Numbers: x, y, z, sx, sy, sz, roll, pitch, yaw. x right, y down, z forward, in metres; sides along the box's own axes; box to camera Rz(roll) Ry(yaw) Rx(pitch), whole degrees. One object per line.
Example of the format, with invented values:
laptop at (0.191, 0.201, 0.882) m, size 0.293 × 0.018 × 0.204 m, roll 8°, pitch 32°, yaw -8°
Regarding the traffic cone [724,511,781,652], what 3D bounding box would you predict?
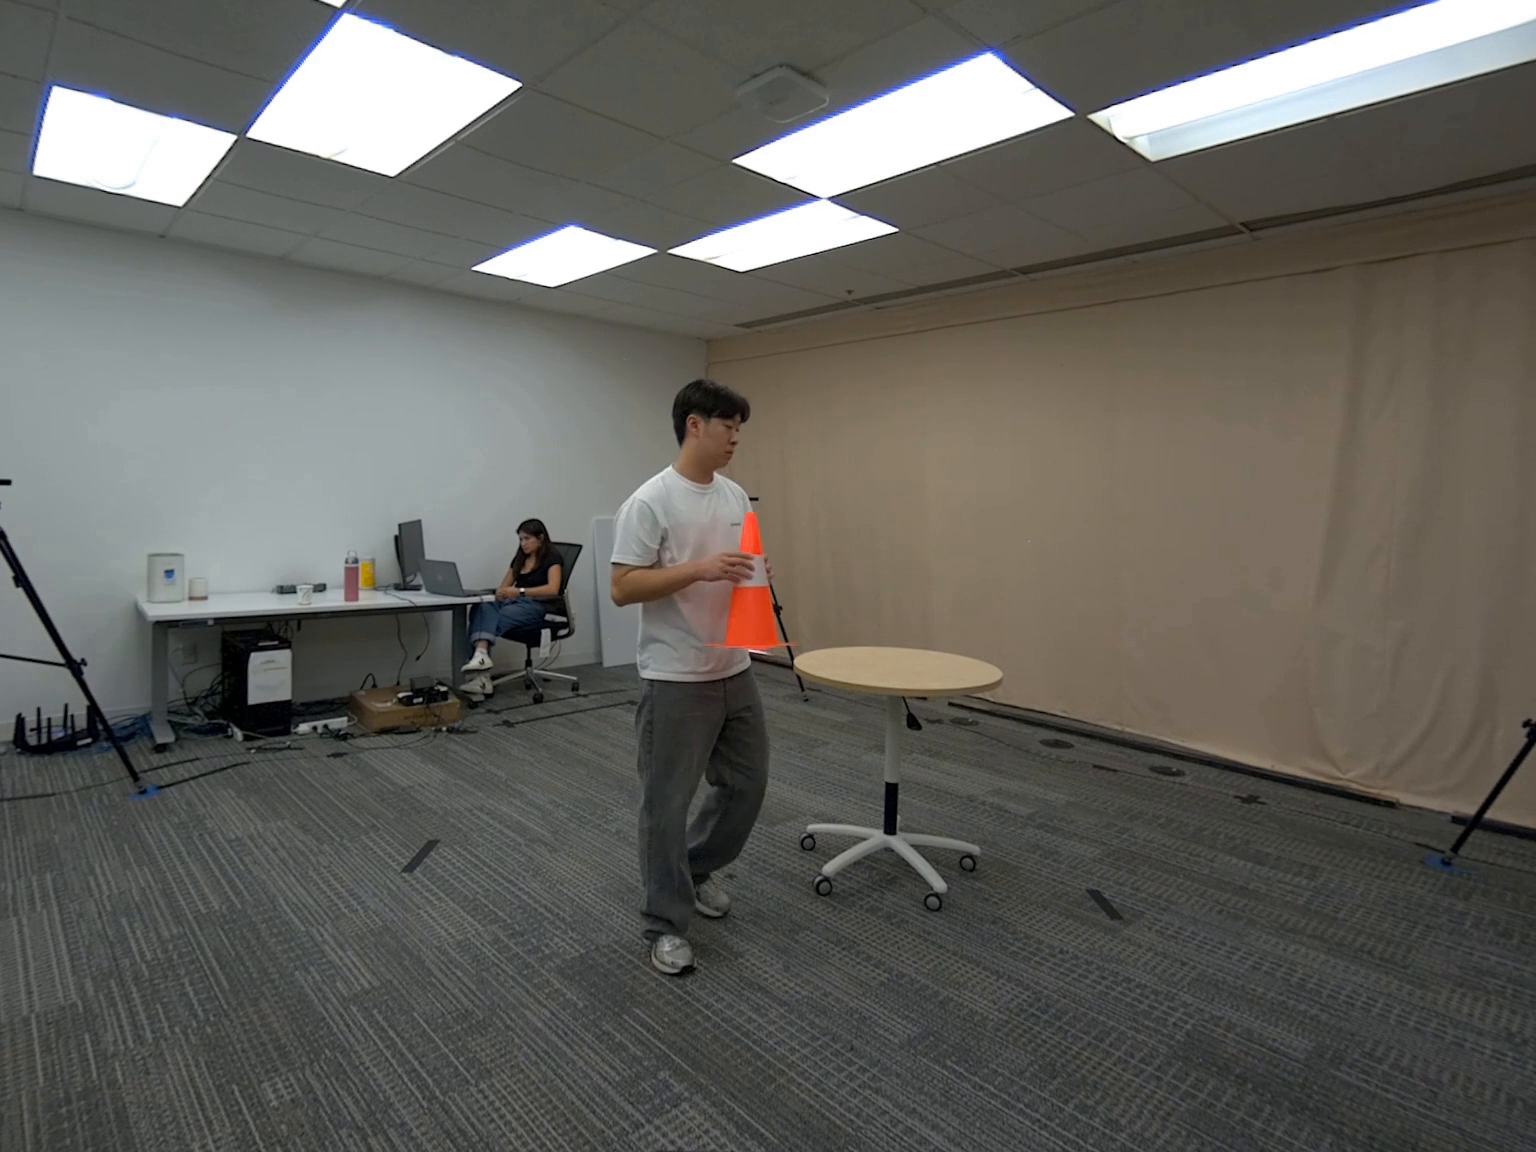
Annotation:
traffic cone at (-0.072, 0.013, 2.421) m, size 0.210 × 0.384 × 0.198 m, roll -2°, pitch -1°, yaw 44°
